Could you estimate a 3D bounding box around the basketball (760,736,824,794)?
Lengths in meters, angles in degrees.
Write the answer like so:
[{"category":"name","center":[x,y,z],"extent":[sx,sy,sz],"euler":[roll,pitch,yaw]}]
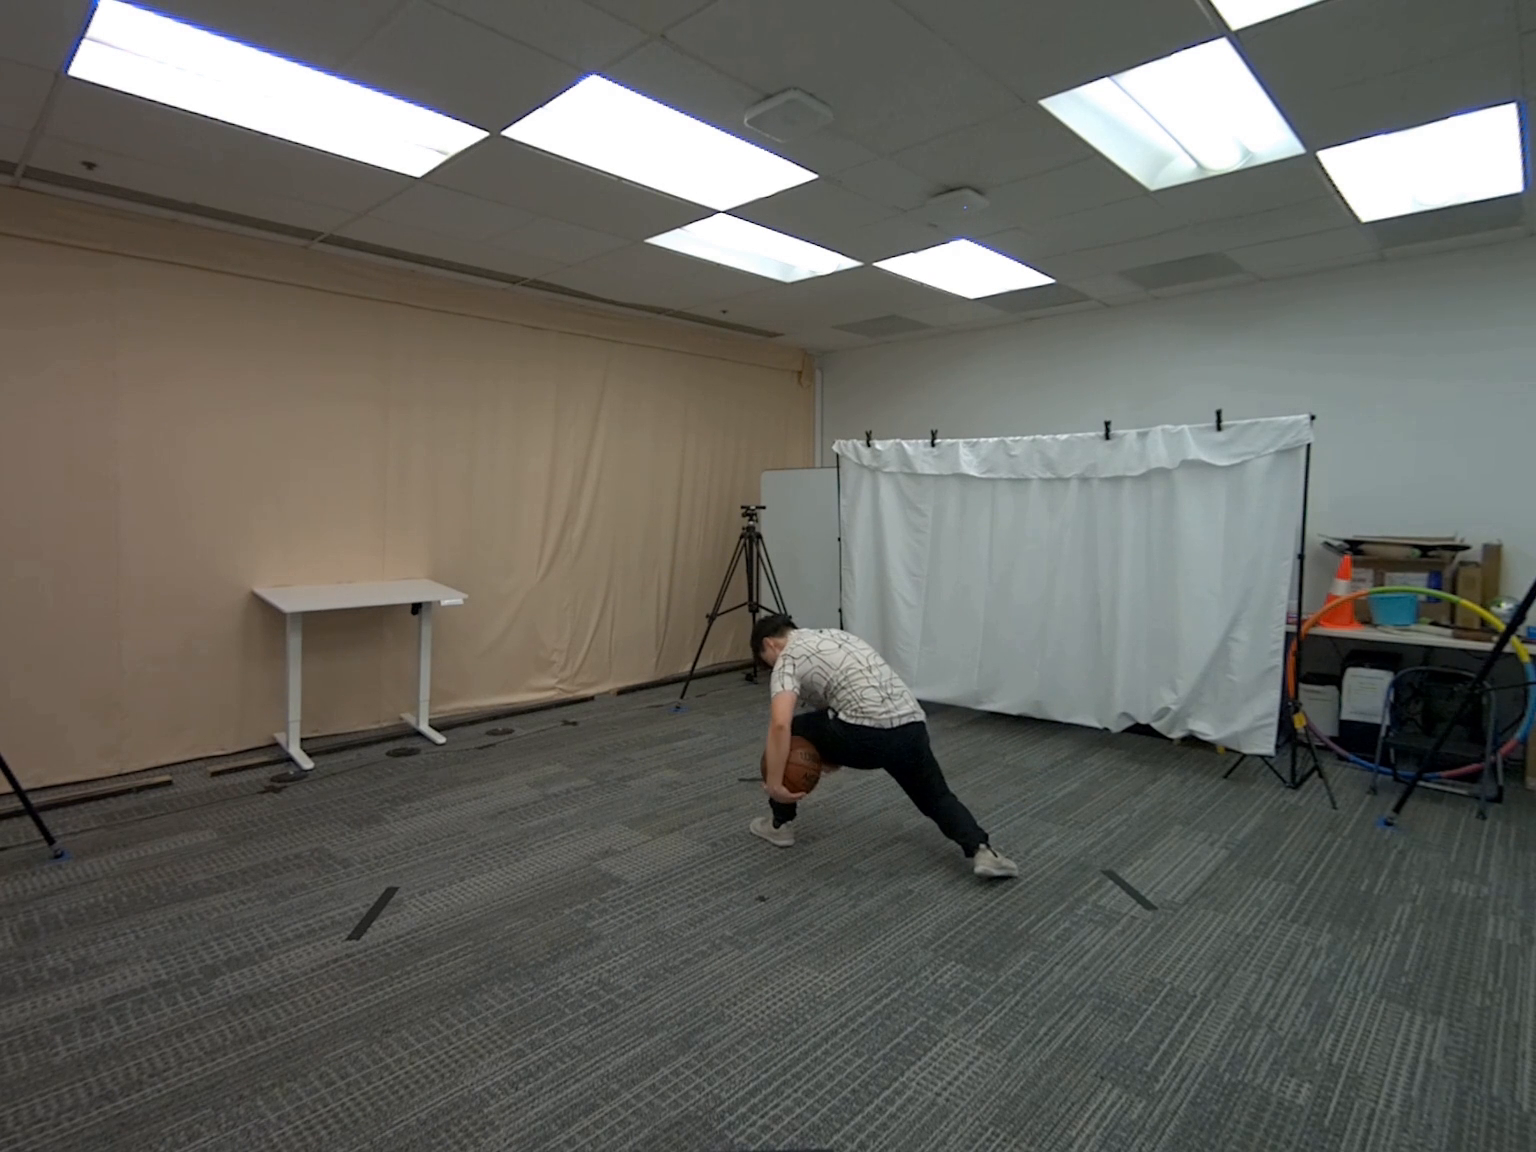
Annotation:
[{"category":"basketball","center":[0.097,0.744,3.295],"extent":[0.236,0.235,0.237],"euler":[0,4,-2]}]
